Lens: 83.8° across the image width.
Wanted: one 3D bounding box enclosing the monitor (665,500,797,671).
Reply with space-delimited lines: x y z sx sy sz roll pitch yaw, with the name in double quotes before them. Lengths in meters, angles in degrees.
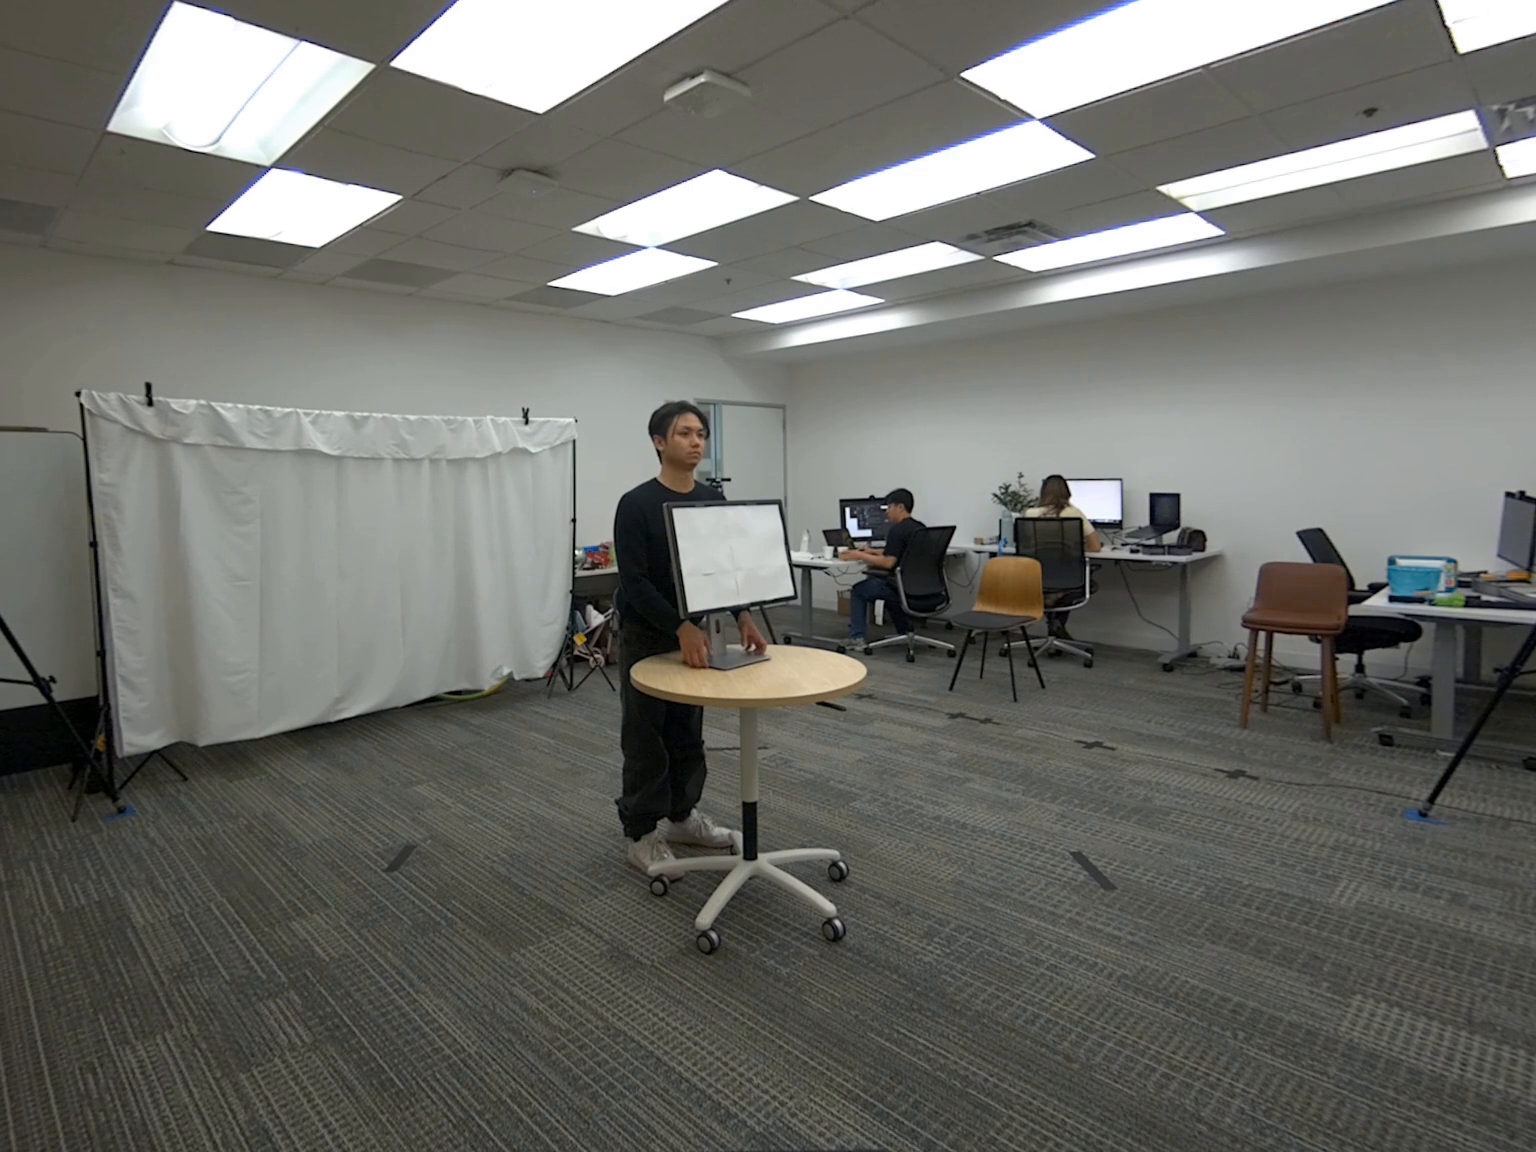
"monitor" -0.138 0.019 2.881 0.193 0.521 0.525 2 5 40
